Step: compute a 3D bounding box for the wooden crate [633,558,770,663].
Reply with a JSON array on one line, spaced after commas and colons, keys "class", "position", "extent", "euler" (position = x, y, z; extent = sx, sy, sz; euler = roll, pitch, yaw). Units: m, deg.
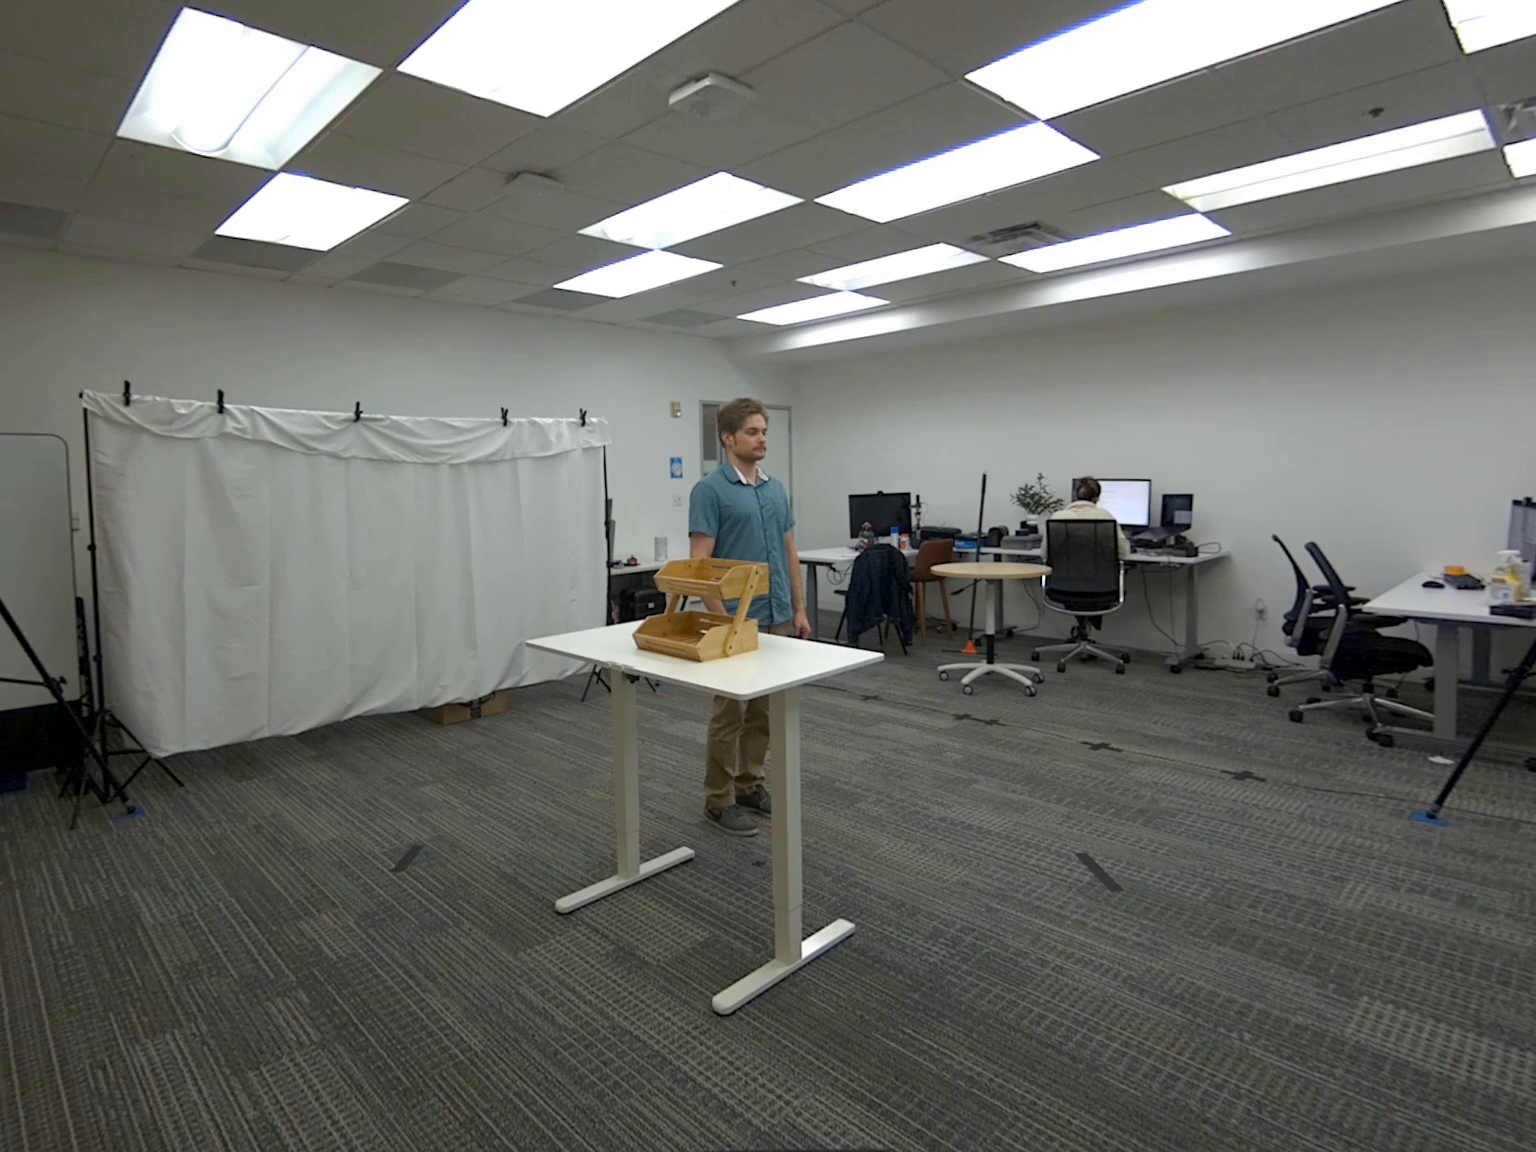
[{"class": "wooden crate", "position": [-0.215, 0.093, 2.626], "extent": [0.294, 0.272, 0.334], "euler": [-6, 7, -44]}]
